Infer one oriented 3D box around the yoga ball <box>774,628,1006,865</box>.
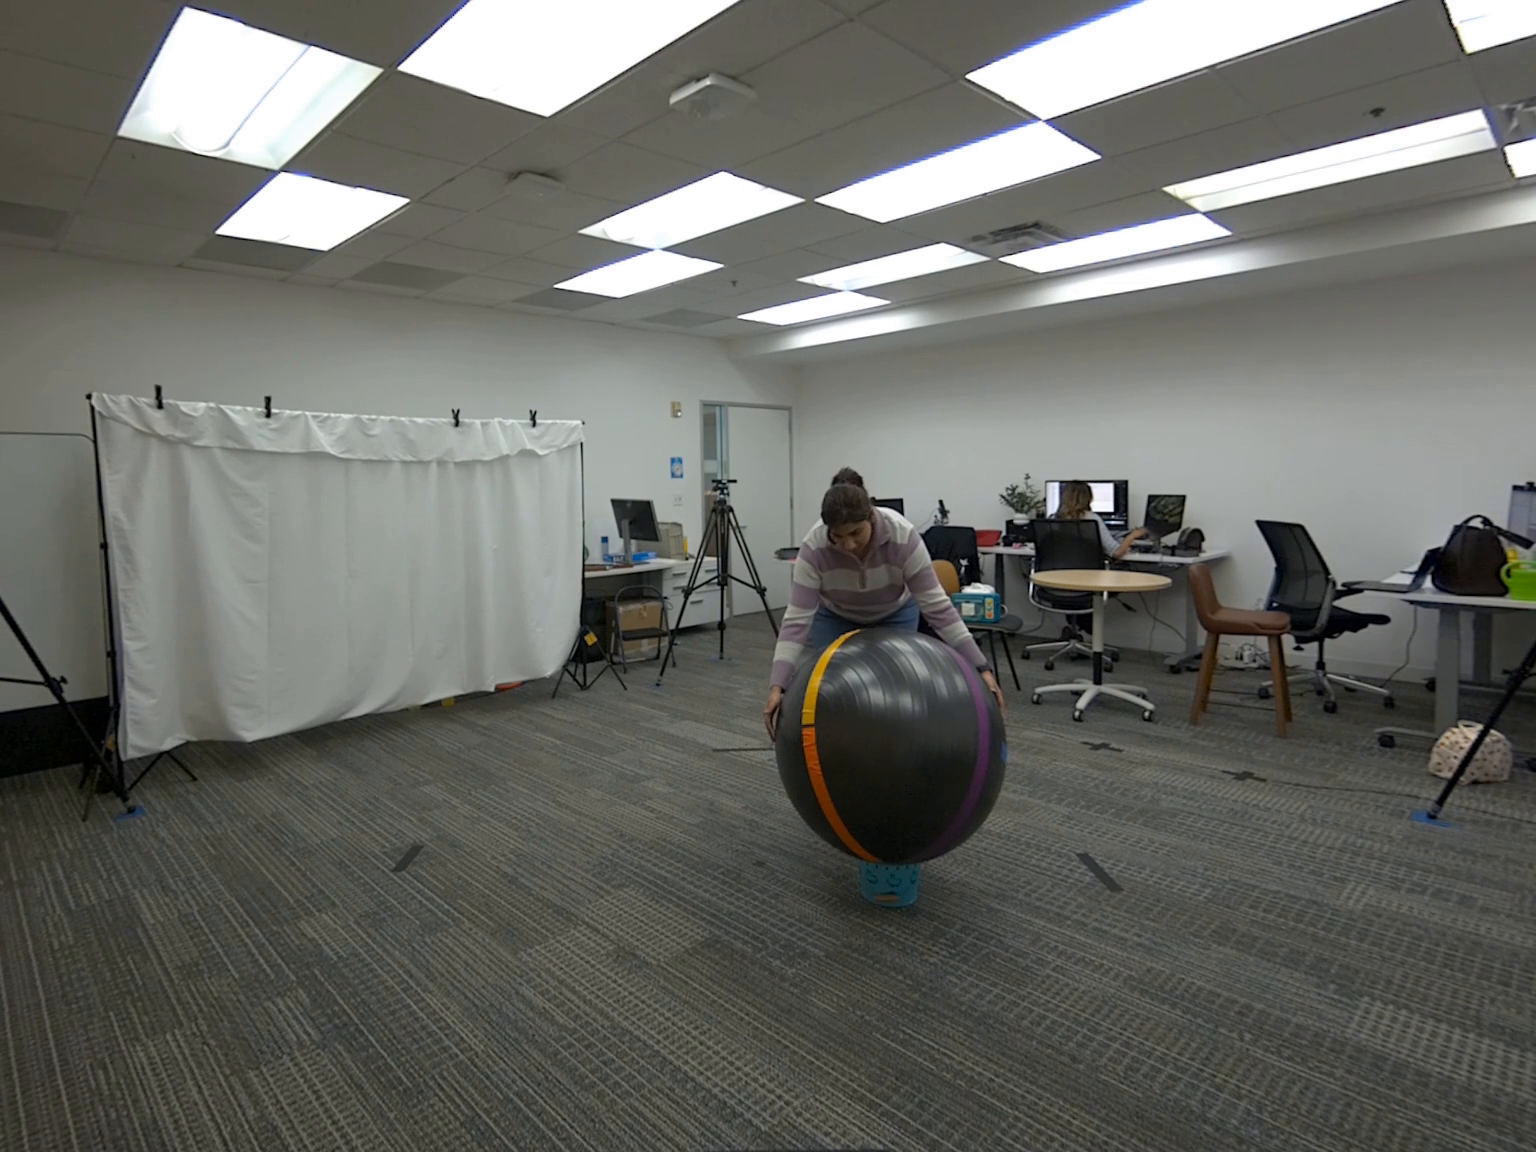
[{"bbox_3d":[0.403,0.557,2.839,0.757,0.755,0.762,-1,5,-2],"label":"yoga ball"}]
